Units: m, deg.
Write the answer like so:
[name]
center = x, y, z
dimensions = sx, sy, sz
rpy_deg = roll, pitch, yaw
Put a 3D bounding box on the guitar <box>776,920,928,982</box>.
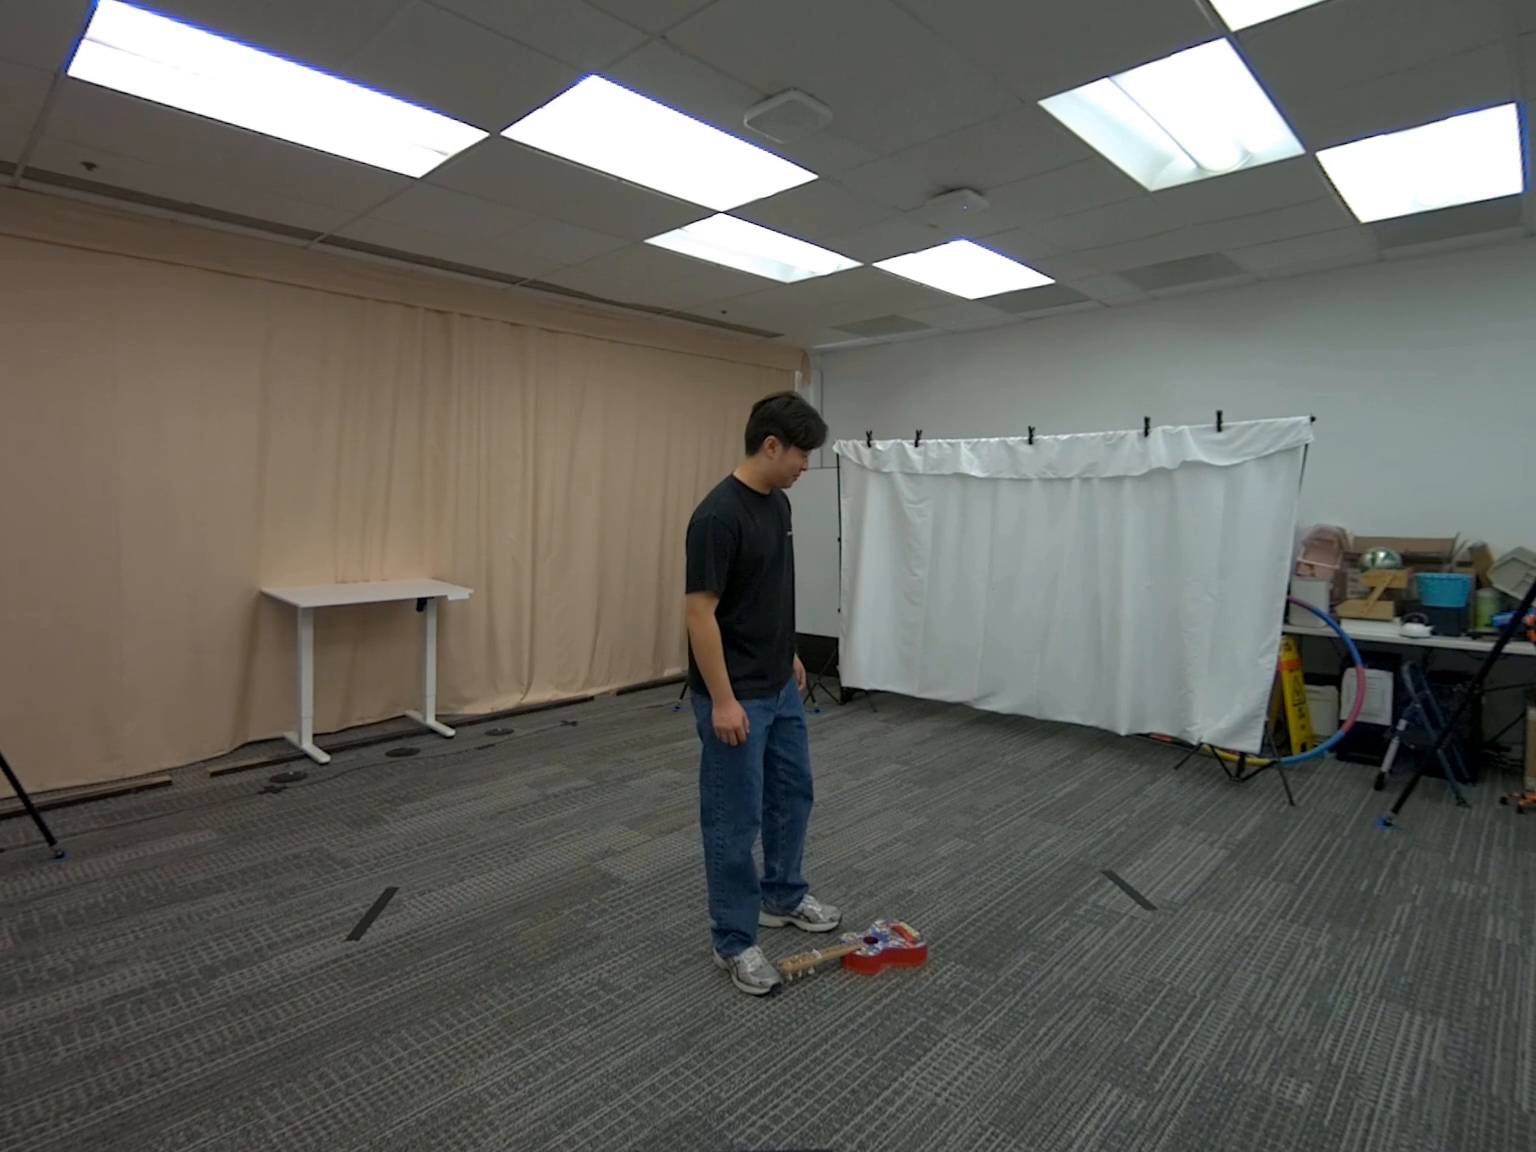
[guitar]
center = 0.247, 1.144, 2.573
dimensions = 0.488, 0.070, 0.197
rpy_deg = -2, 6, -20
